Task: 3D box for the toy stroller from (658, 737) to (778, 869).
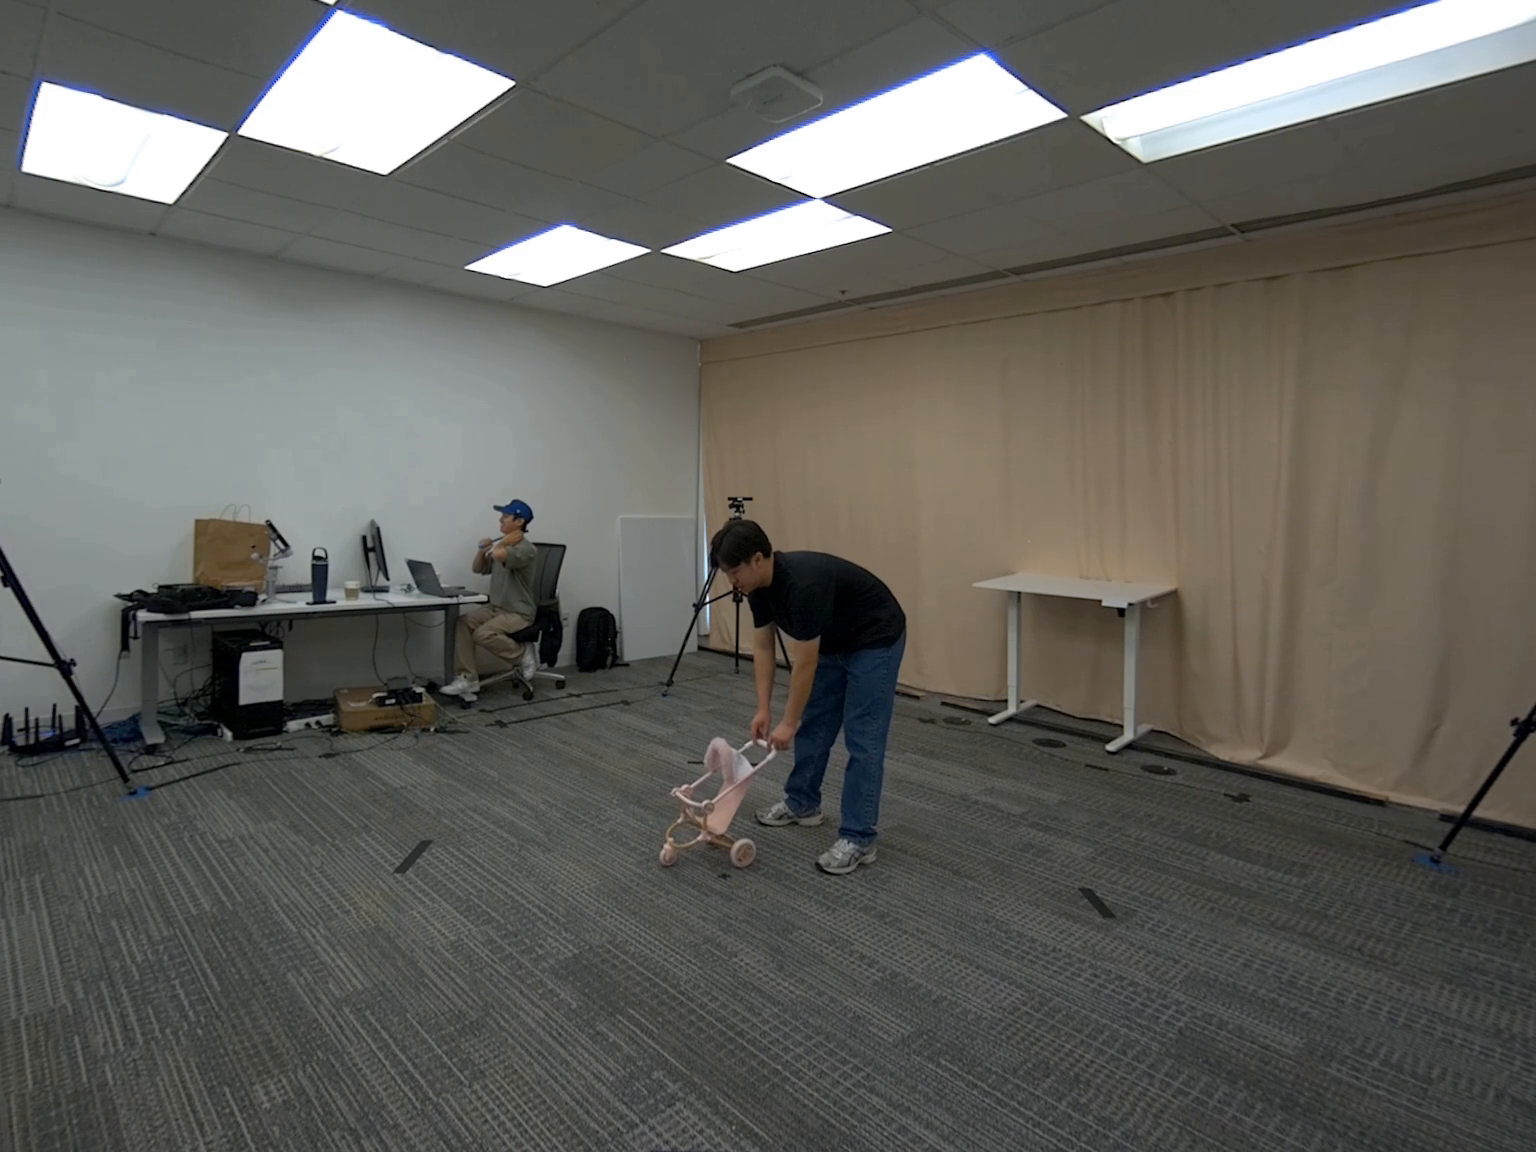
[{"bbox_3d":[-0.212,0.868,3.253,0.334,0.536,0.287,18,-4,-24],"label":"toy stroller"}]
